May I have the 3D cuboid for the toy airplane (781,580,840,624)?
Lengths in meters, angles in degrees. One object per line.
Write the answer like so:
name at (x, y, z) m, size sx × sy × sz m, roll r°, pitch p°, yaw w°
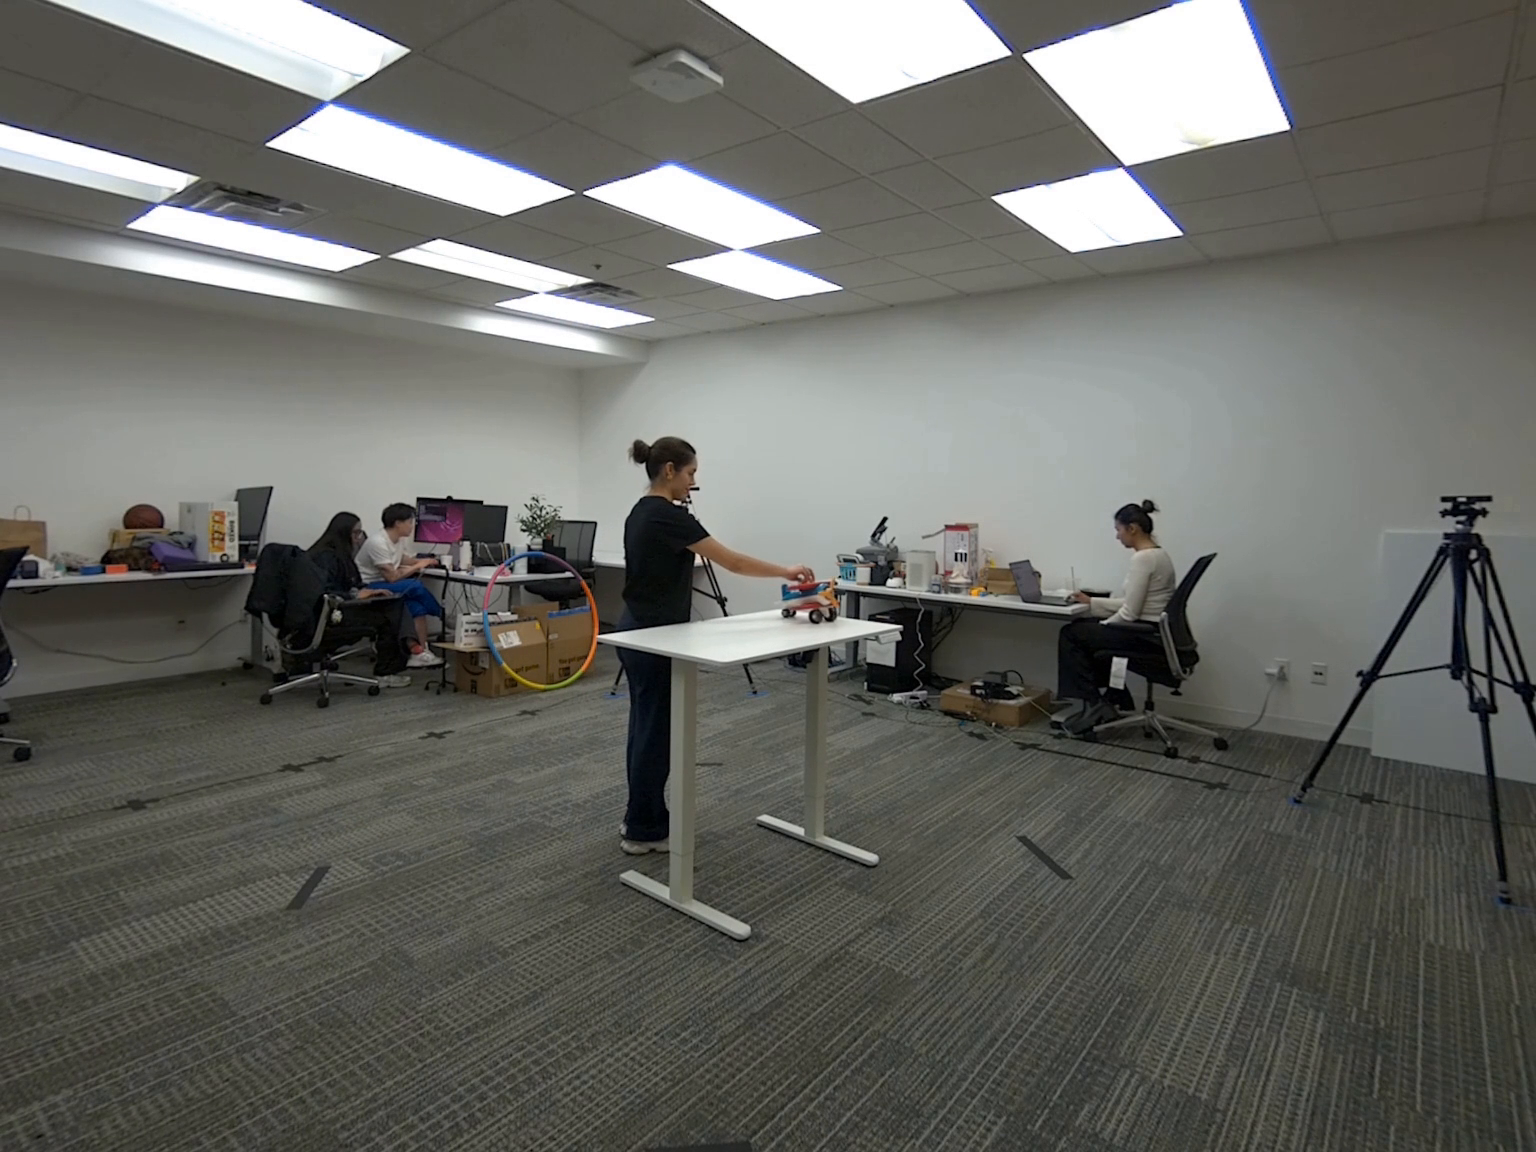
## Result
toy airplane at (0.155, 0.094, 3.314) m, size 0.264 × 0.156 × 0.247 m, roll 3°, pitch 5°, yaw 18°
